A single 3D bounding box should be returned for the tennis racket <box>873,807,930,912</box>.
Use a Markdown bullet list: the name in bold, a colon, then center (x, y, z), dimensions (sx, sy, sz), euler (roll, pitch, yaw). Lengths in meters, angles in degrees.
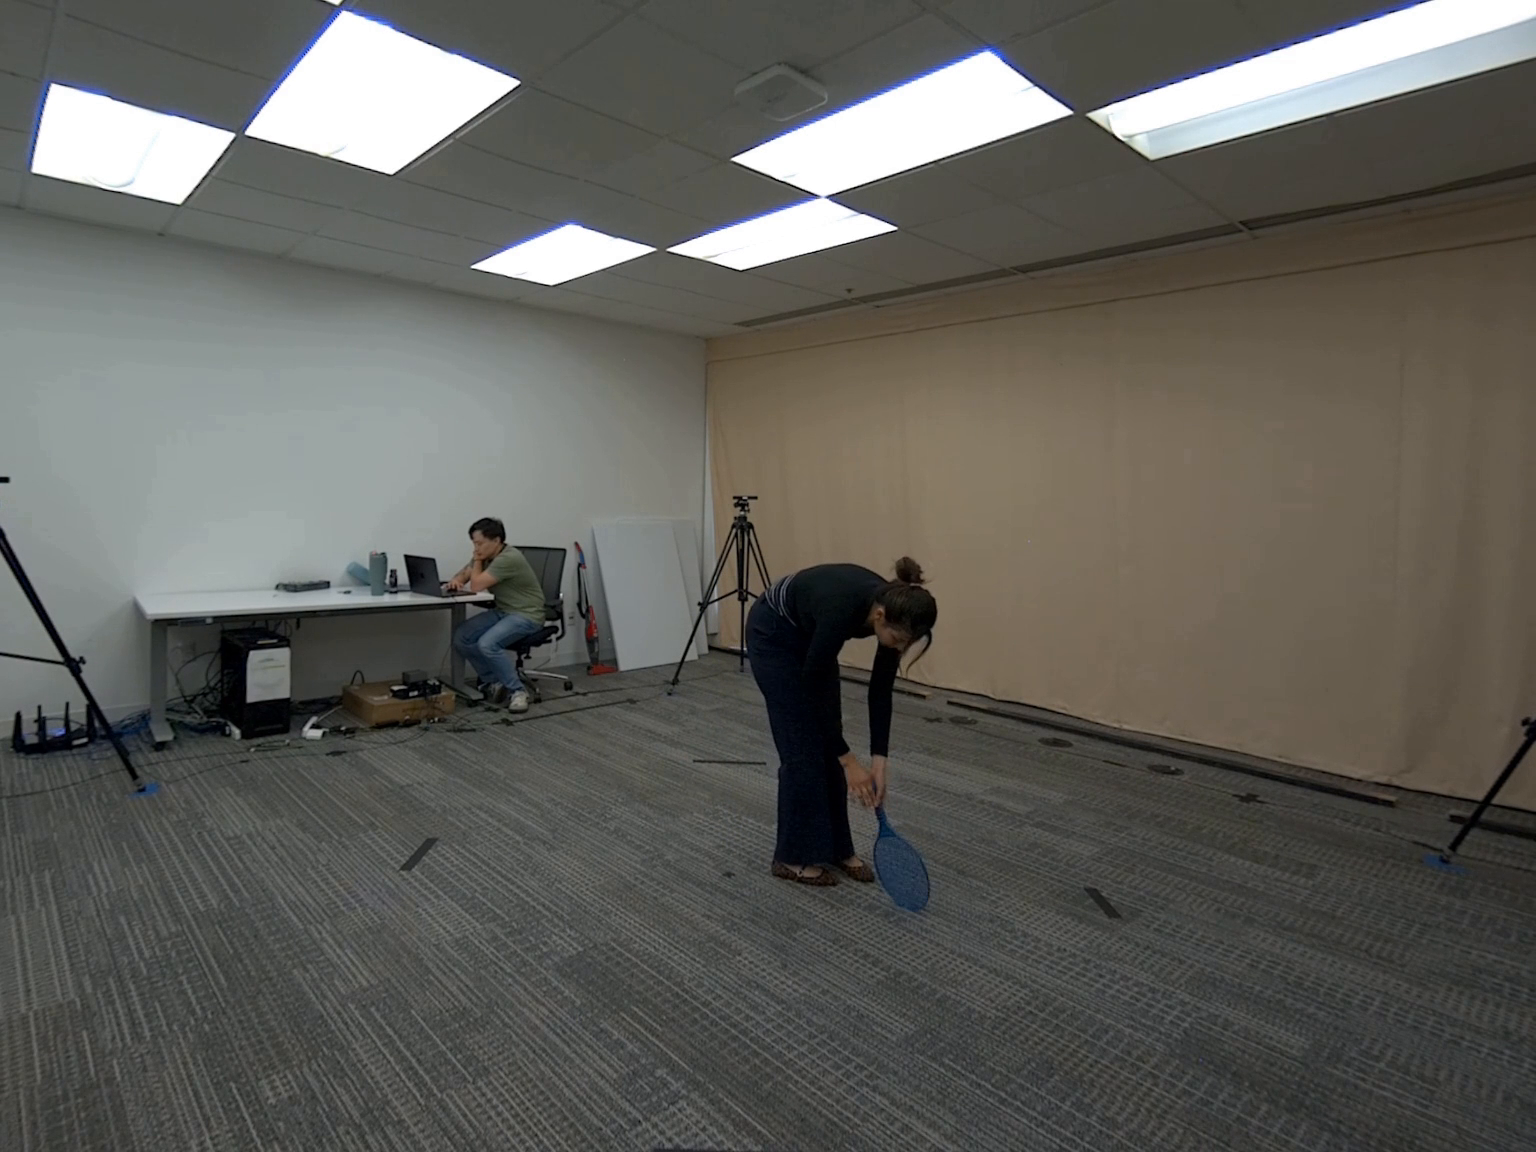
- **tennis racket**: center (0.407, 0.931, 2.878), dimensions (0.031, 0.437, 0.216), euler (-13, -13, -45)
